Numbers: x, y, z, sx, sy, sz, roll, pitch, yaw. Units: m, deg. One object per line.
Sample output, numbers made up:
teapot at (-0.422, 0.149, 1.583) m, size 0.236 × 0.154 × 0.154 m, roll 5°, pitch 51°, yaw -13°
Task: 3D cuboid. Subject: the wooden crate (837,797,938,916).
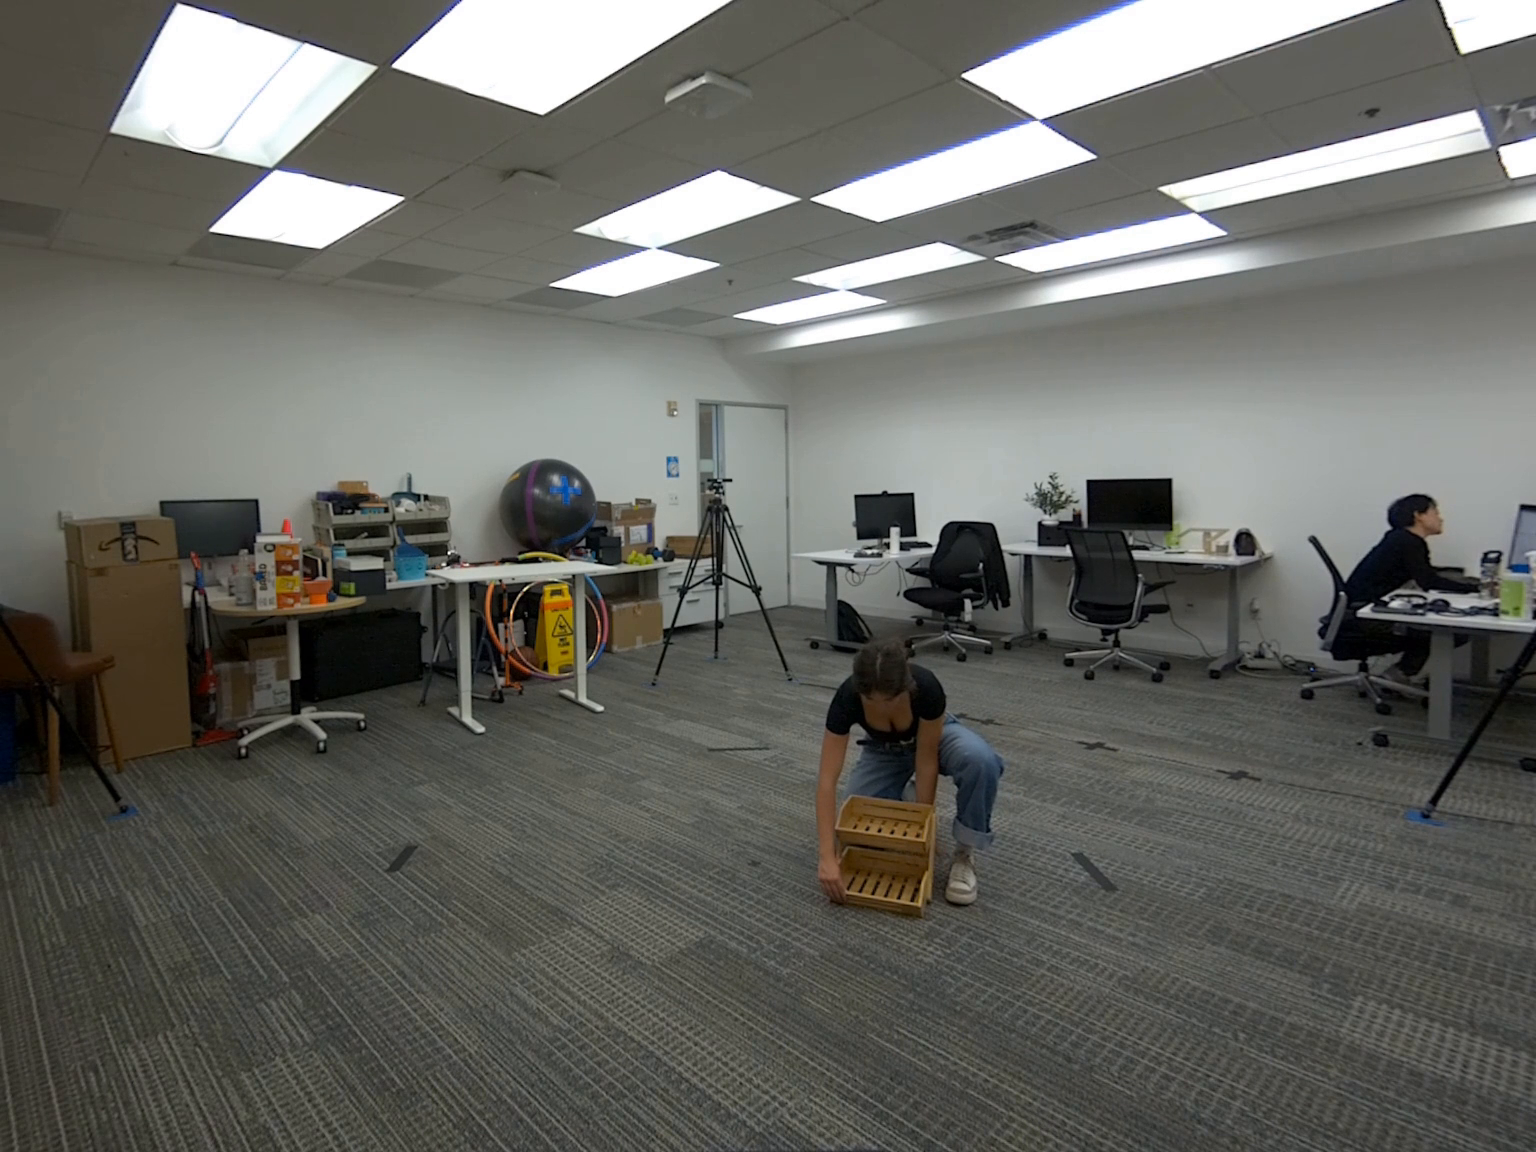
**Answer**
wooden crate at (0.388, 0.931, 2.873) m, size 0.331 × 0.272 × 0.297 m, roll 1°, pitch 4°, yaw 21°
